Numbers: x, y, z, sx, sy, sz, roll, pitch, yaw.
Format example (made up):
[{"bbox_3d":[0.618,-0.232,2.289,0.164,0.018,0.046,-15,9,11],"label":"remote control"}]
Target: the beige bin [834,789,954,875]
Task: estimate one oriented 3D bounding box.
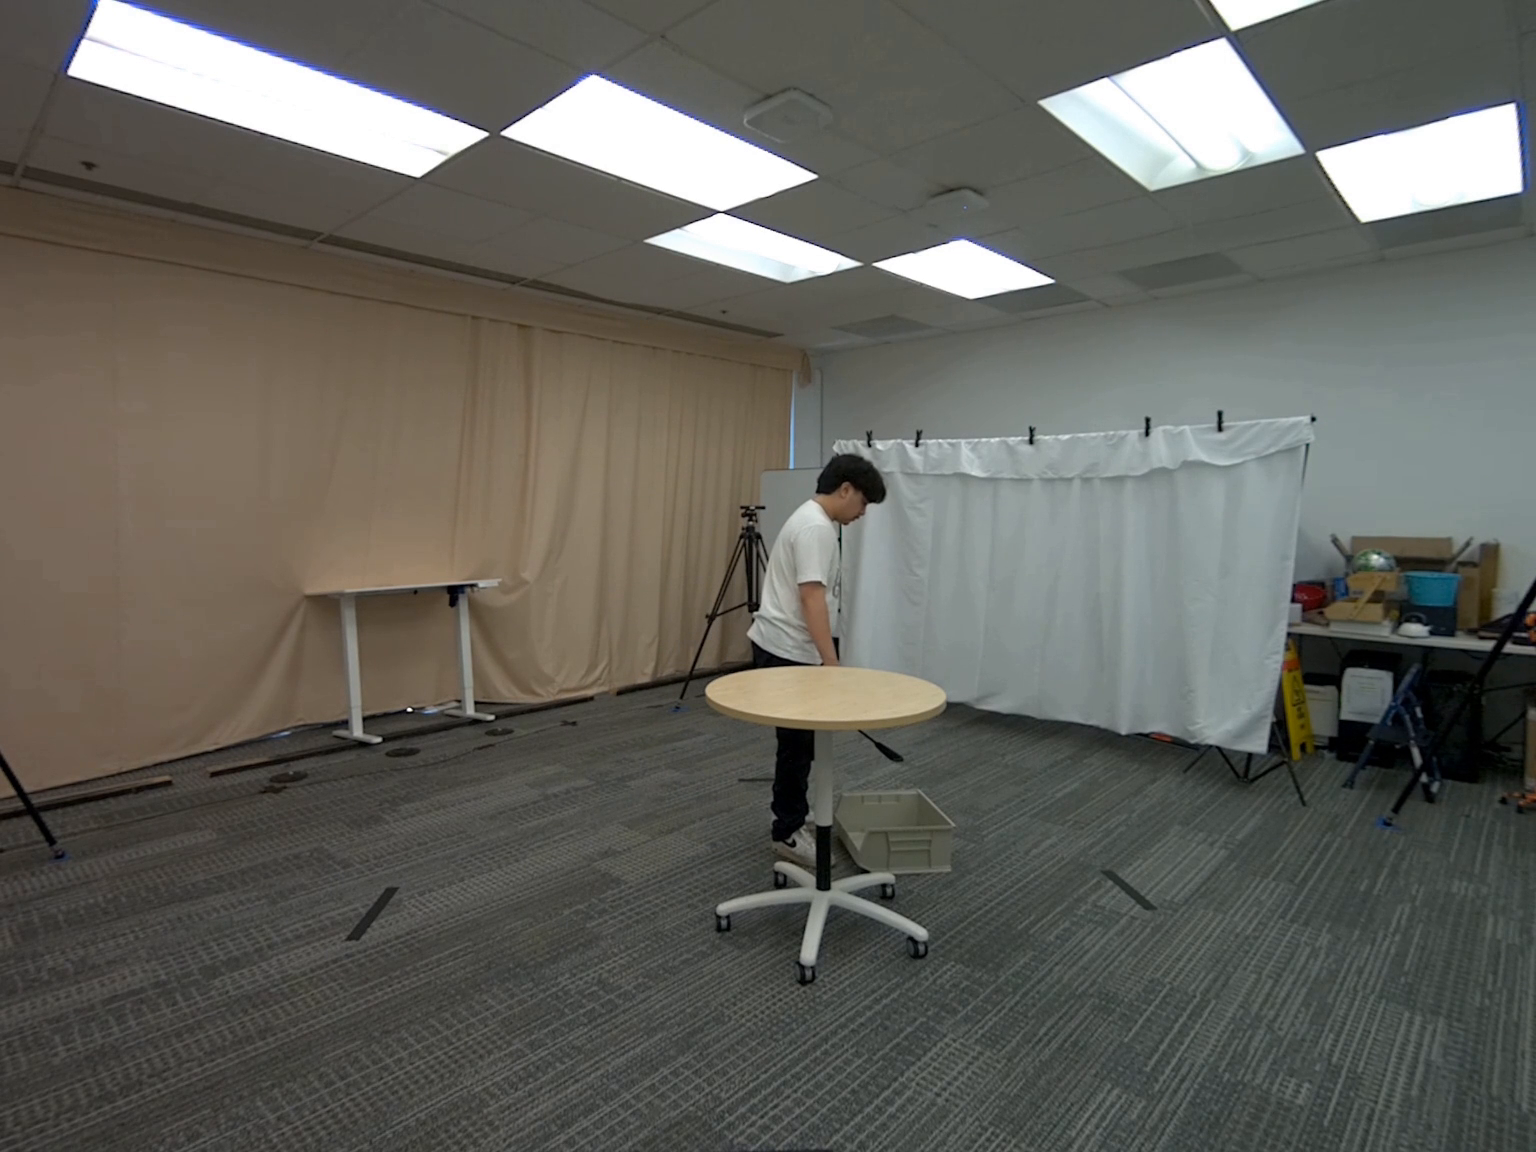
[{"bbox_3d":[0.498,1.021,3.382,0.375,0.188,0.426,0,4,-8],"label":"beige bin"}]
